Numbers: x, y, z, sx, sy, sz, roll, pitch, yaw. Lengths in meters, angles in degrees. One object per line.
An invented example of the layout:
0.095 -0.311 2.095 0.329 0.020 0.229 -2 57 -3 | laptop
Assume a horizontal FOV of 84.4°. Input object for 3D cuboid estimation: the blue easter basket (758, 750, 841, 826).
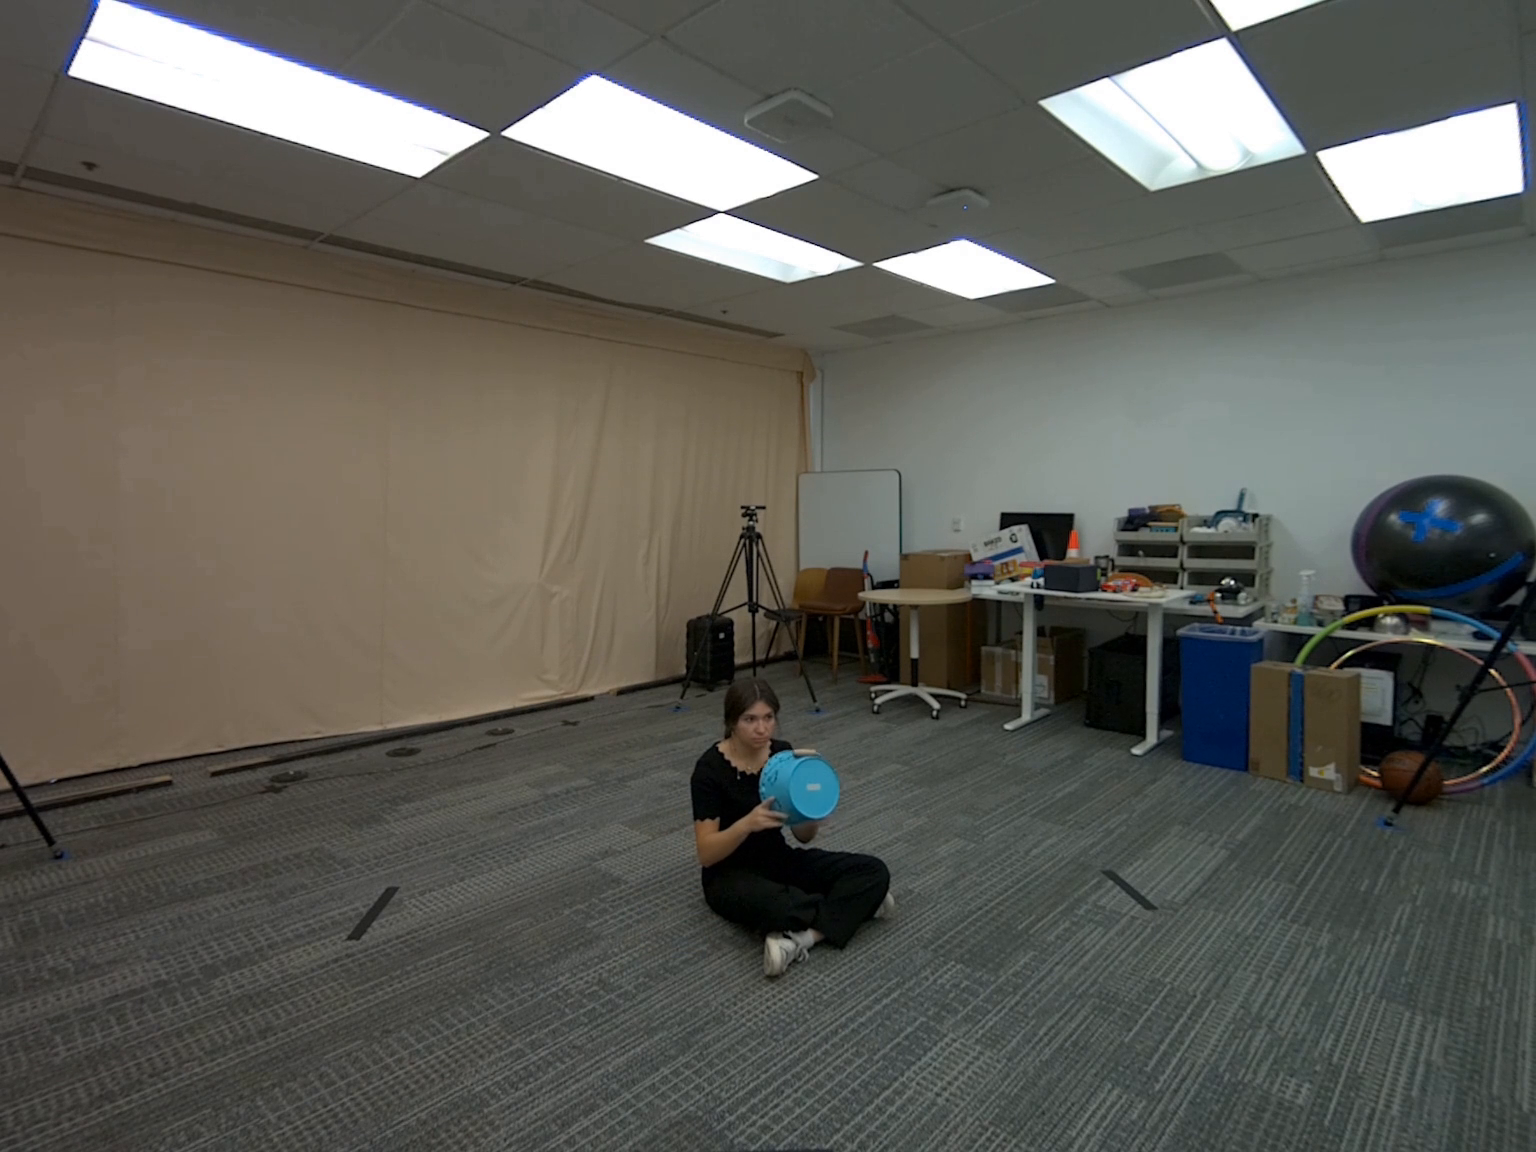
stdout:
0.108 0.666 2.658 0.237 0.246 0.158 -2 -14 -27 | blue easter basket
